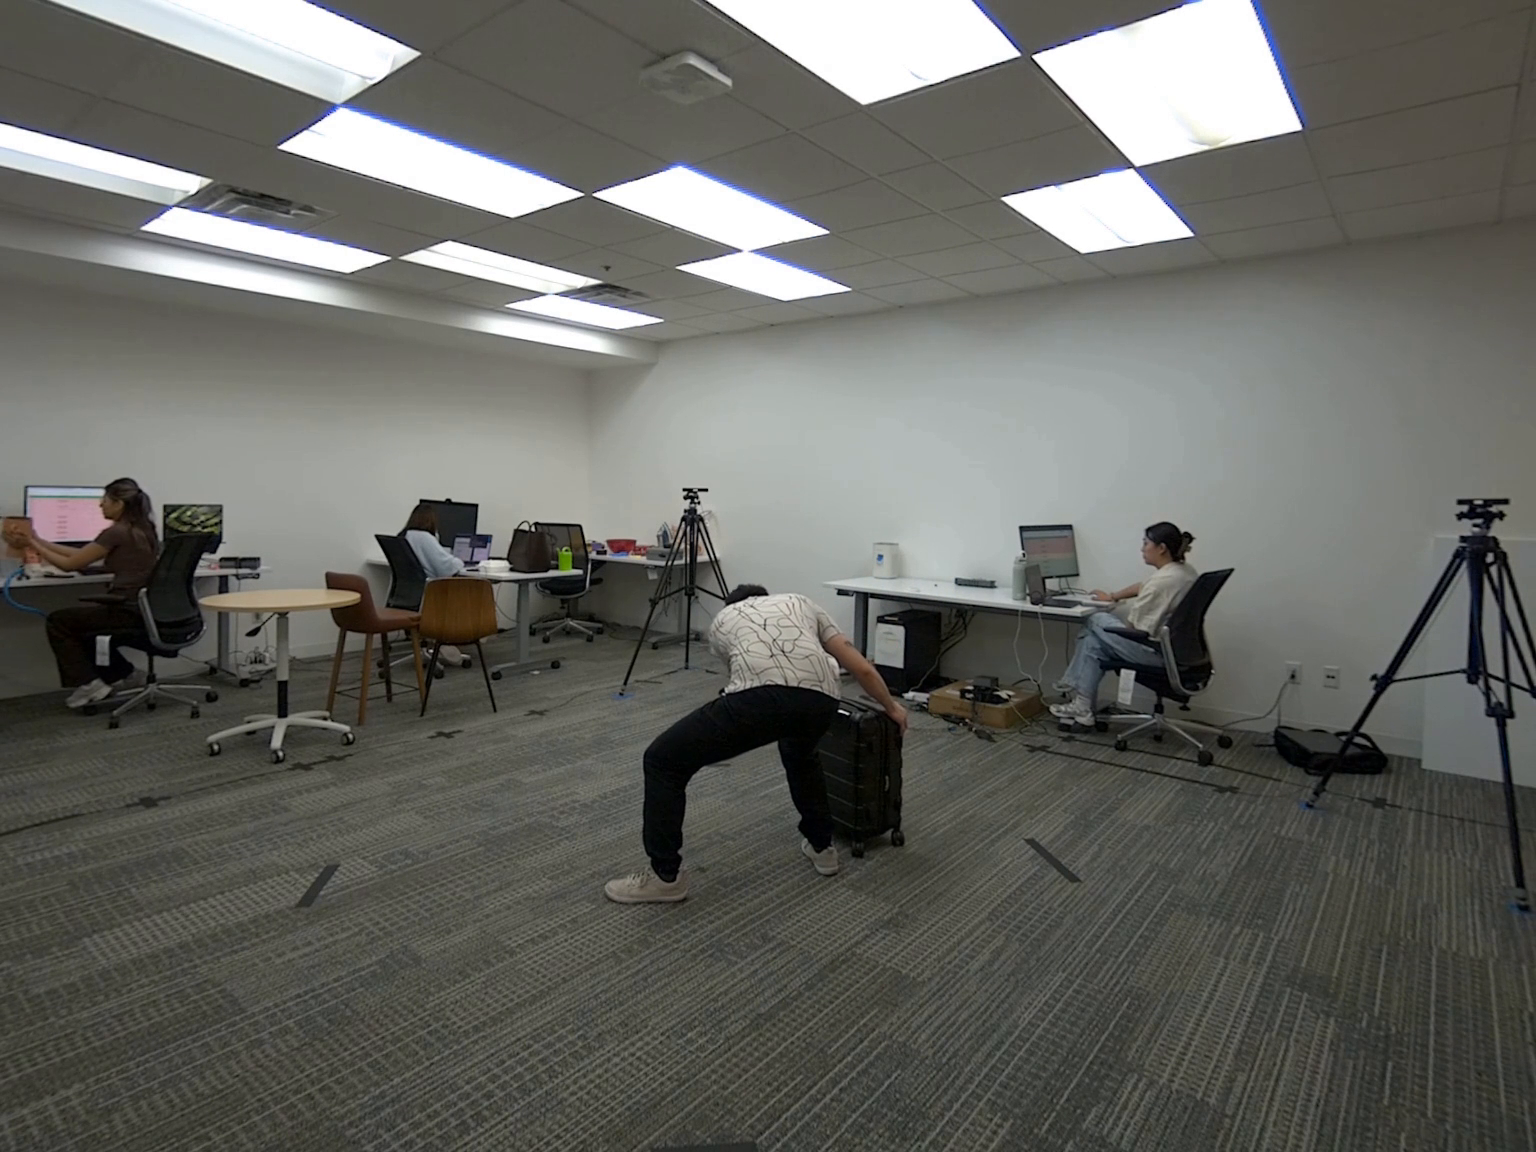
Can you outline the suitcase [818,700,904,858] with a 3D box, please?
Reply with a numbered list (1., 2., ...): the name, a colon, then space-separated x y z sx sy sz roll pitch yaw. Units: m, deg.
1. suitcase: 0.336 0.772 3.447 0.241 0.548 0.387 -1 4 -35
